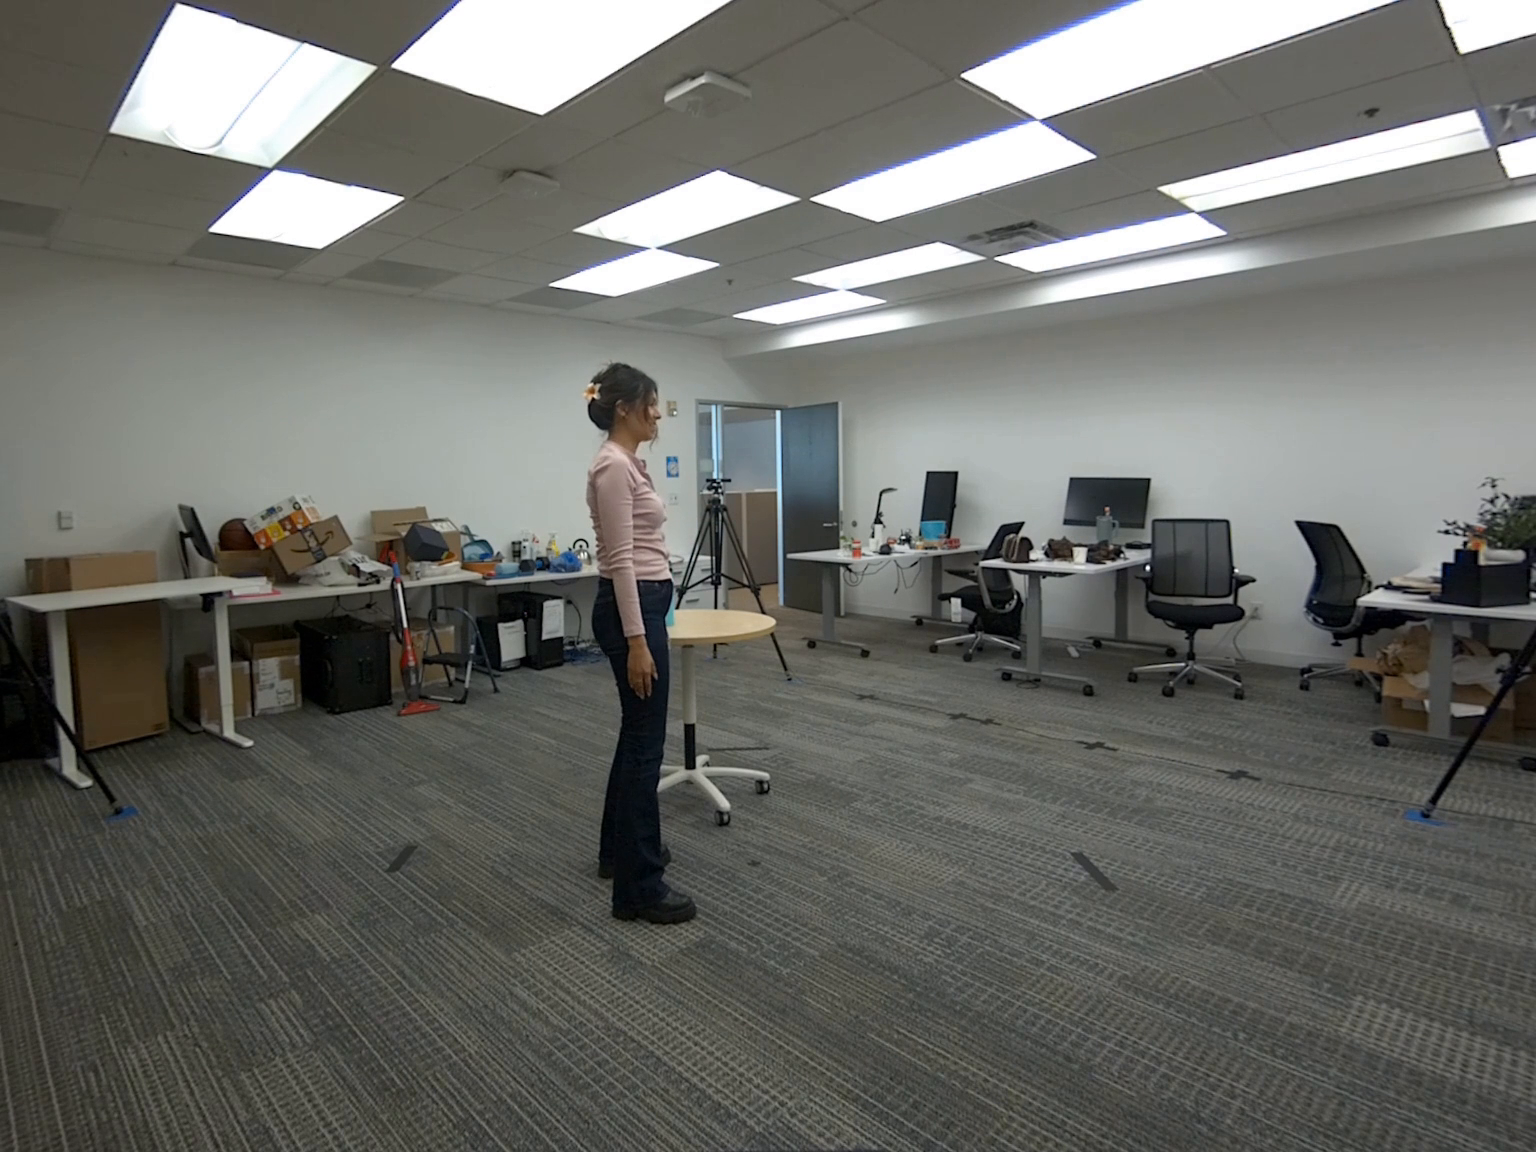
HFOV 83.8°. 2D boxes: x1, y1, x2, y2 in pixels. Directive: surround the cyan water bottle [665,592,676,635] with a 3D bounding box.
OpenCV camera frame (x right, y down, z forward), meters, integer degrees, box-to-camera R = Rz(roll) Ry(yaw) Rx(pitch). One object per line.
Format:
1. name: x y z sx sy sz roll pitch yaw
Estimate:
1. cyan water bottle: -0.438 0.066 3.627 0.092 0.282 0.093 0 3 -2
